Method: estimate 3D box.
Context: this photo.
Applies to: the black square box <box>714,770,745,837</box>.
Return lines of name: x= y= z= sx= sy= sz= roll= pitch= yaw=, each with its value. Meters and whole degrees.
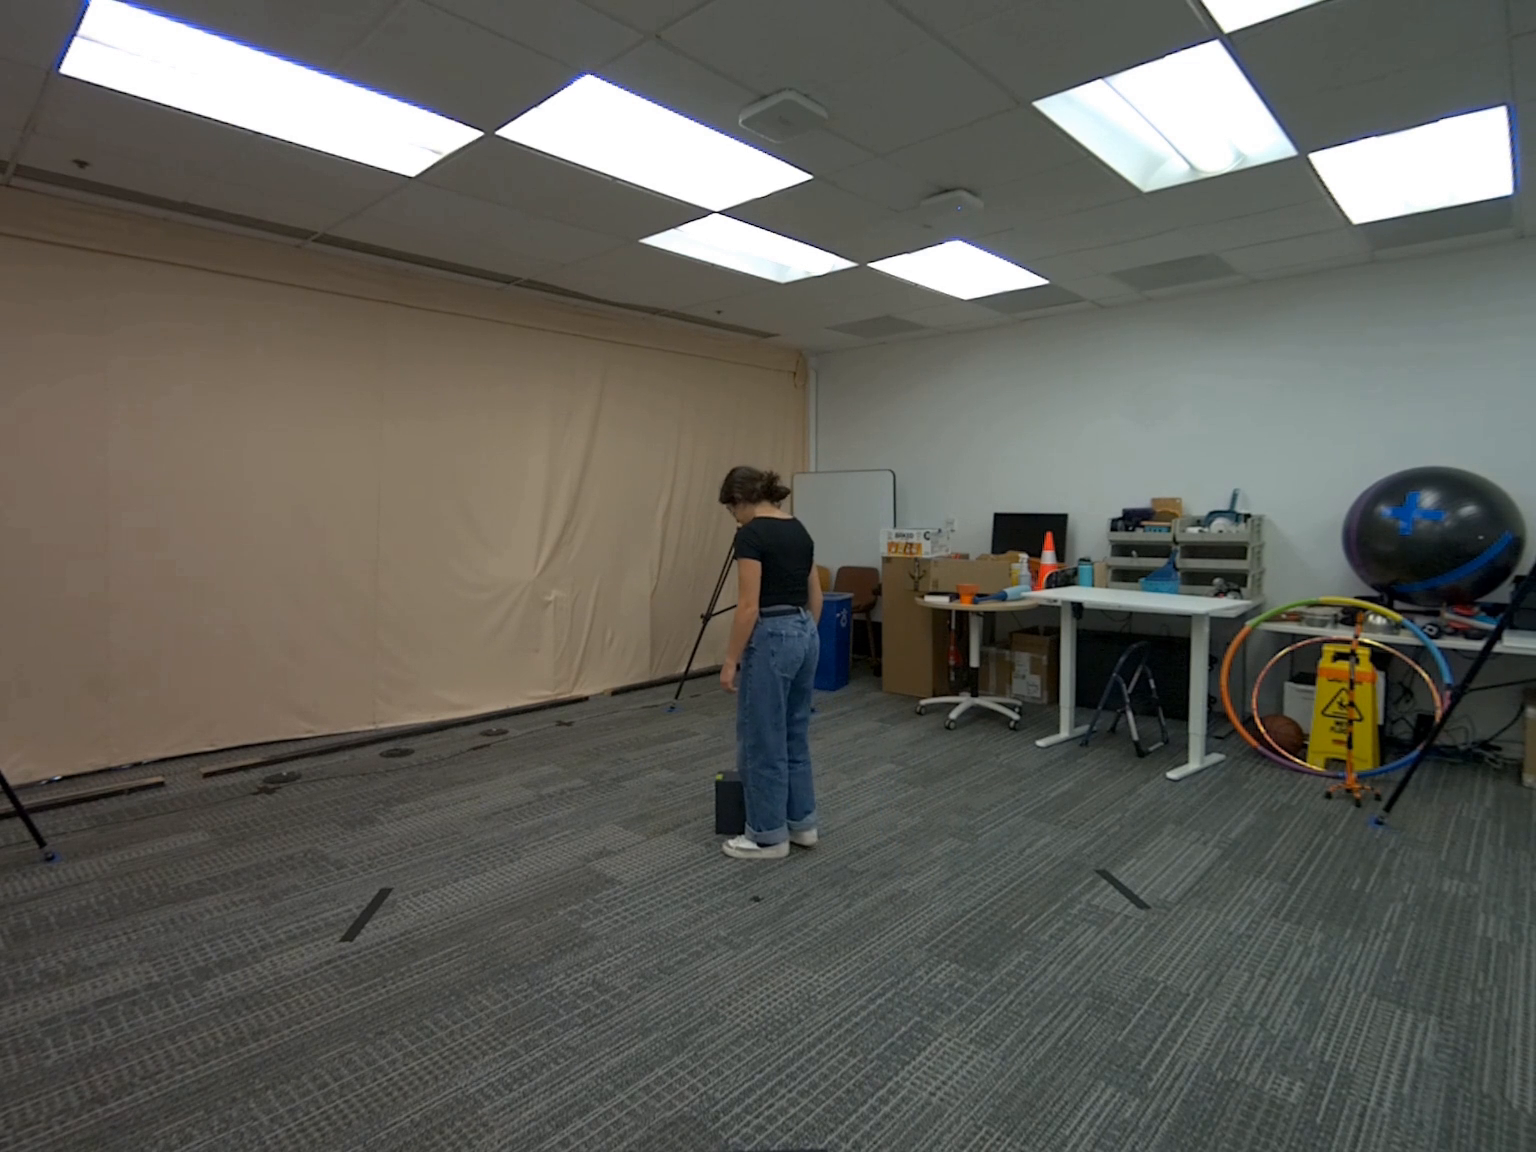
black square box: x=-0.115 y=0.967 z=3.636 sx=0.218 sy=0.227 sz=0.155 roll=0 pitch=3 yaw=4
